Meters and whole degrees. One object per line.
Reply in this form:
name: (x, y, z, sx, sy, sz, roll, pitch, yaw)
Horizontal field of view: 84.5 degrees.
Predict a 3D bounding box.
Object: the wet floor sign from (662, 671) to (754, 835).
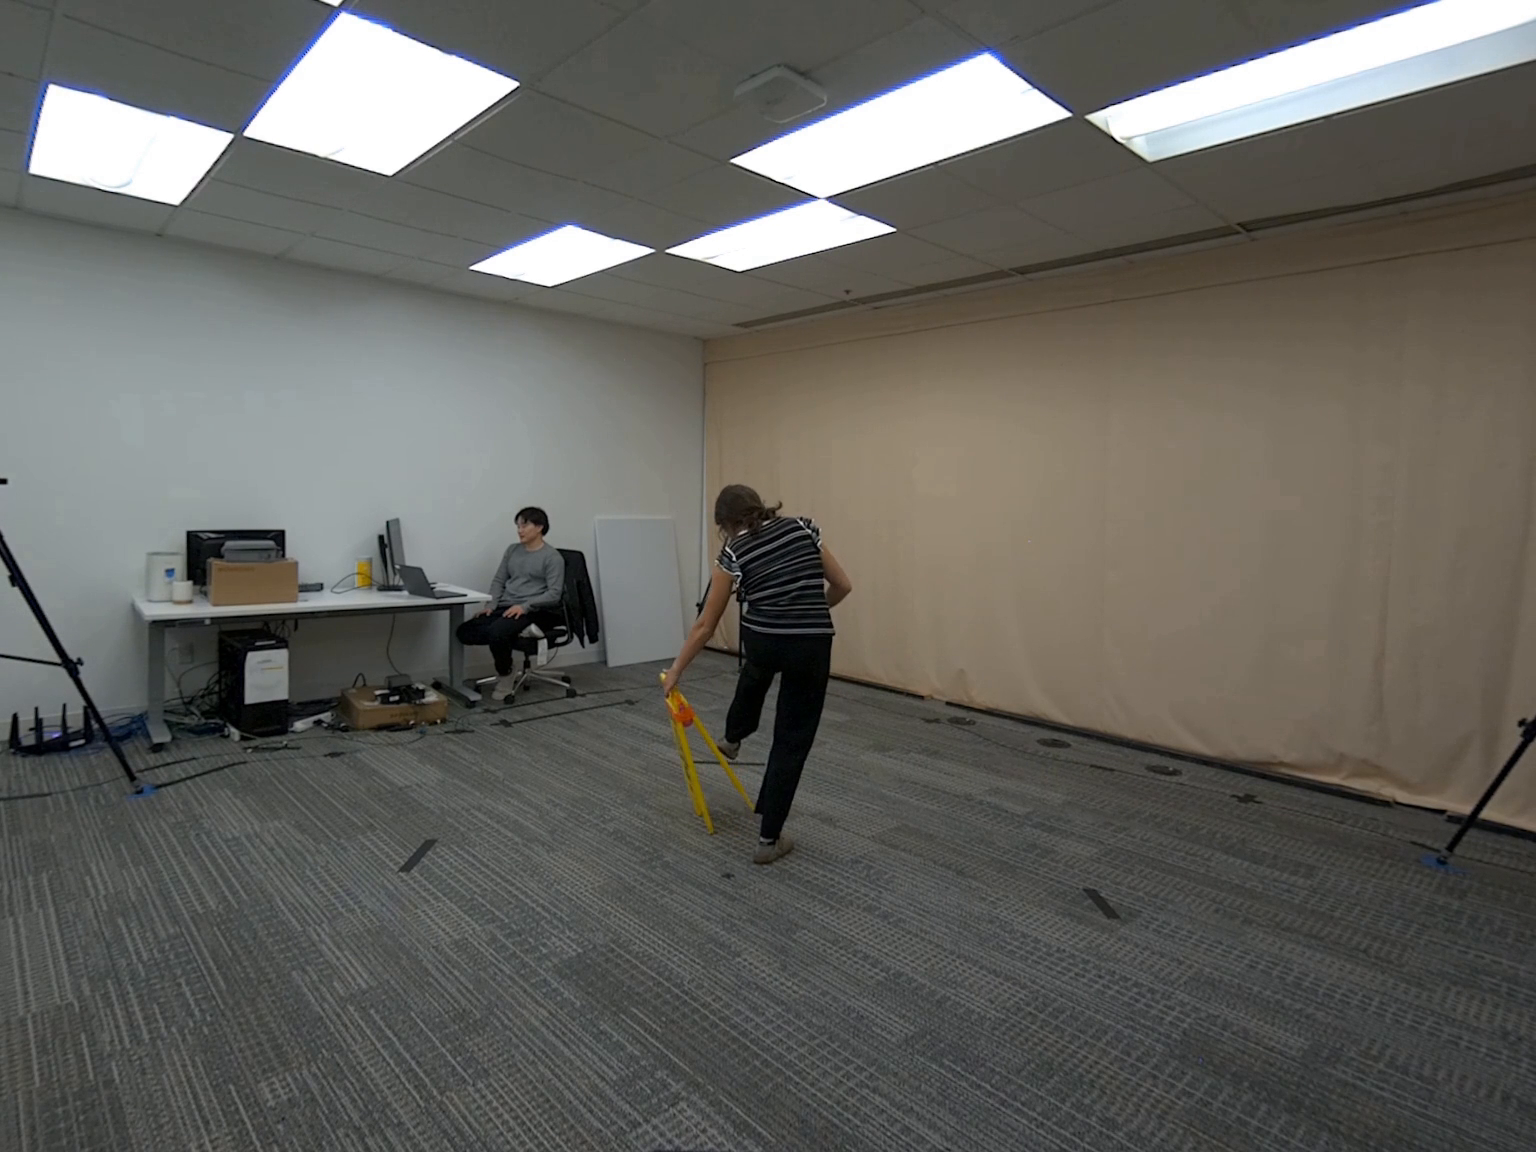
wet floor sign: (-0.317, 0.726, 3.594, 0.288, 0.639, 0.286, -25, 11, -12)
